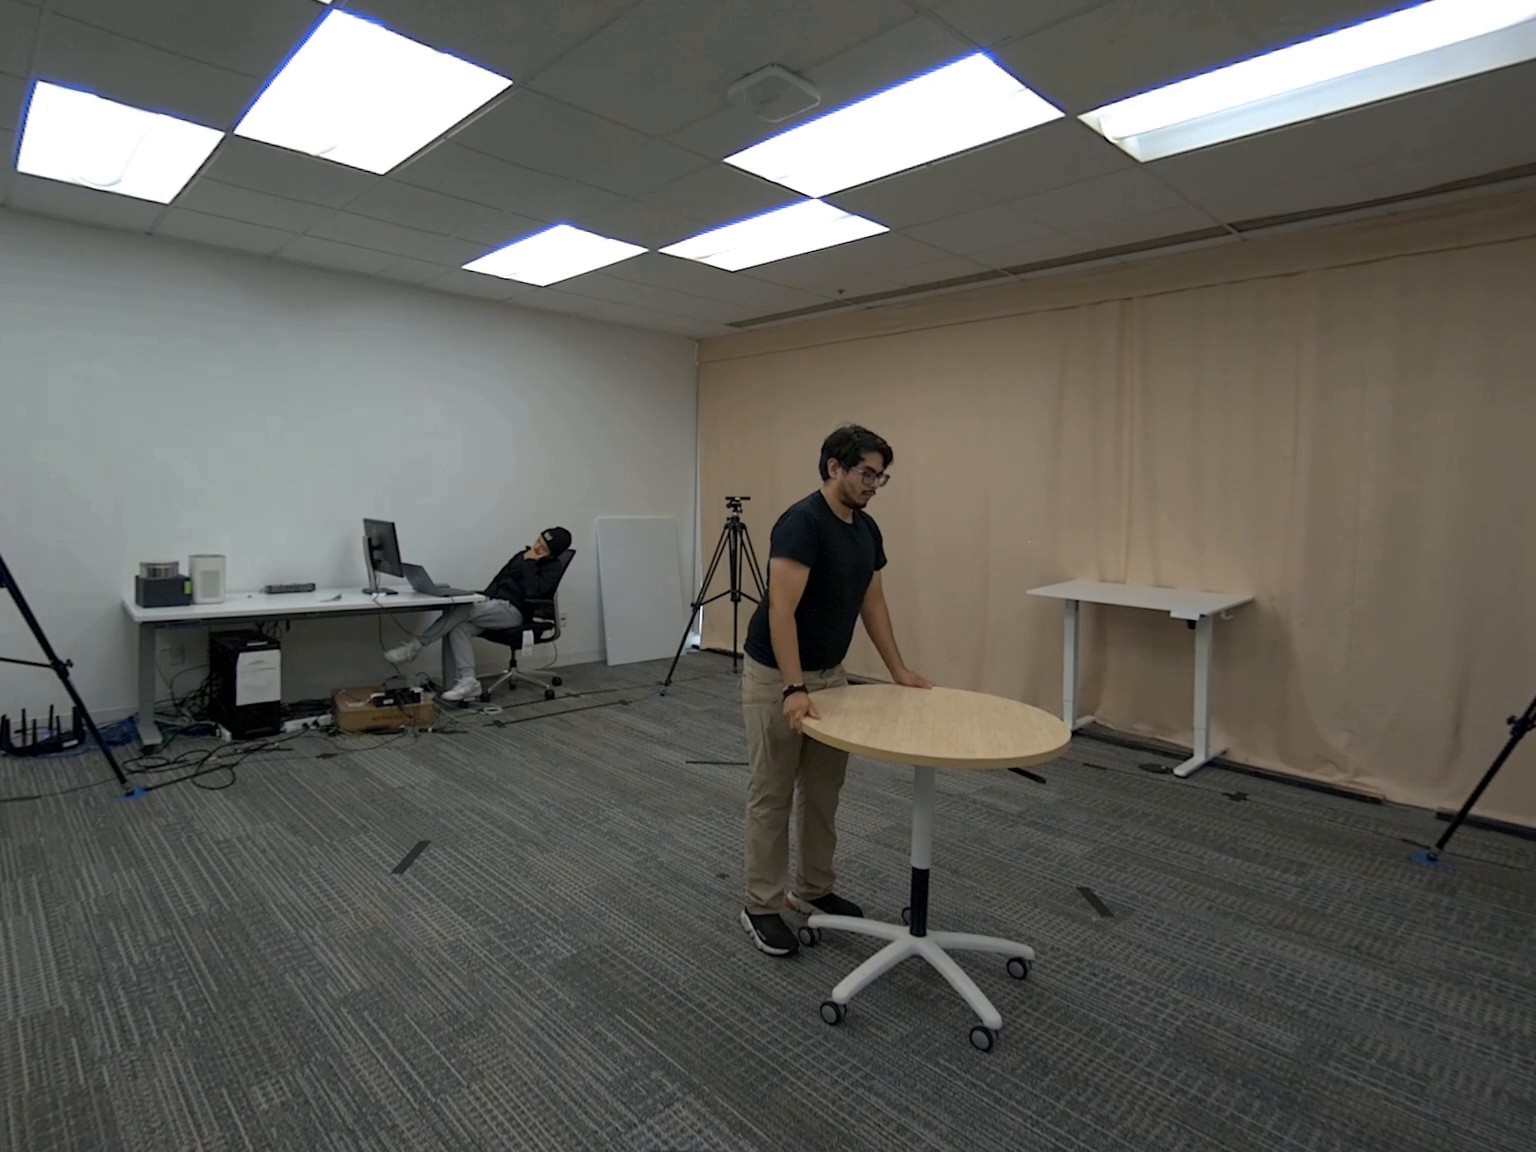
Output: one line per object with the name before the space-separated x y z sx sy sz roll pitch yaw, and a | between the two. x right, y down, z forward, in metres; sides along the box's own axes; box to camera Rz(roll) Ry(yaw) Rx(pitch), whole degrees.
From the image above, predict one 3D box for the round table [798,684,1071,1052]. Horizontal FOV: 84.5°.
round table | 0.445 0.783 2.445 0.784 0.784 0.788 2 5 -2
